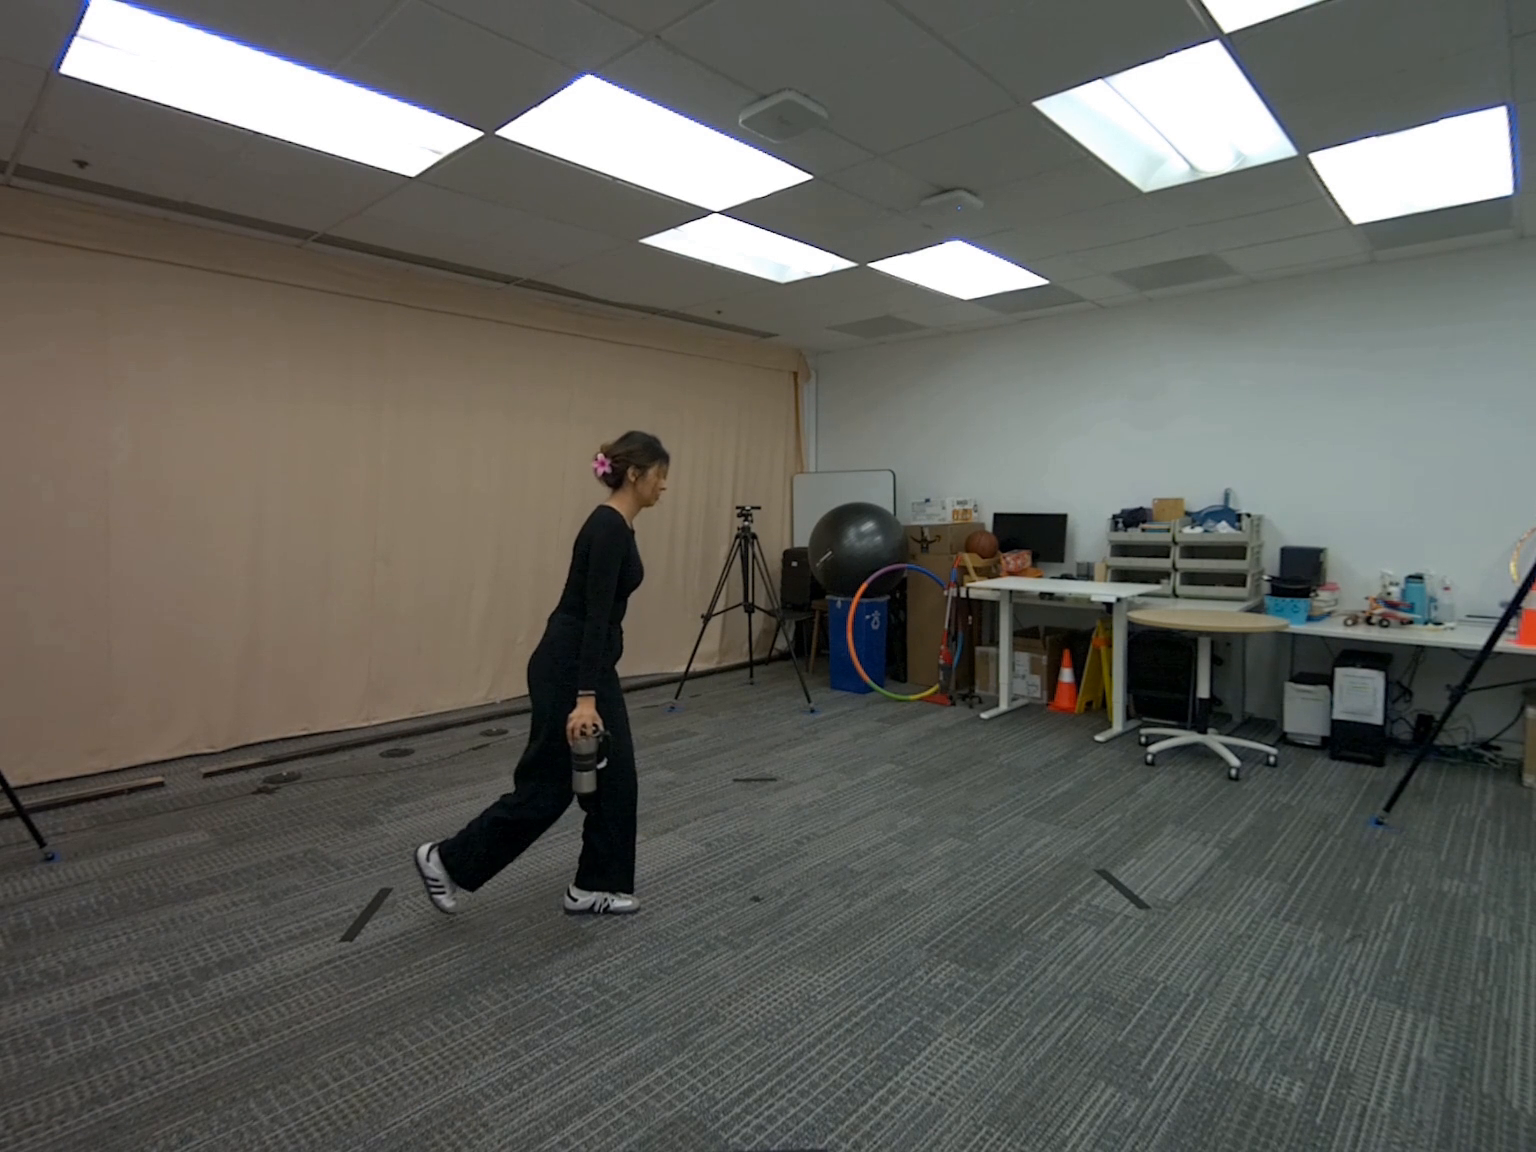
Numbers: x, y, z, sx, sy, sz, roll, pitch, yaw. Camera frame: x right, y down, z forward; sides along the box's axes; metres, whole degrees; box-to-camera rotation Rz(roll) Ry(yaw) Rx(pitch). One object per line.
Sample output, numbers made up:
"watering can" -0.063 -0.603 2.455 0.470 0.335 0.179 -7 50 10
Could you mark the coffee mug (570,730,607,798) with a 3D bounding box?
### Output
"coffee mug" -0.513 0.553 2.495 0.123 0.202 0.087 -1 6 10
